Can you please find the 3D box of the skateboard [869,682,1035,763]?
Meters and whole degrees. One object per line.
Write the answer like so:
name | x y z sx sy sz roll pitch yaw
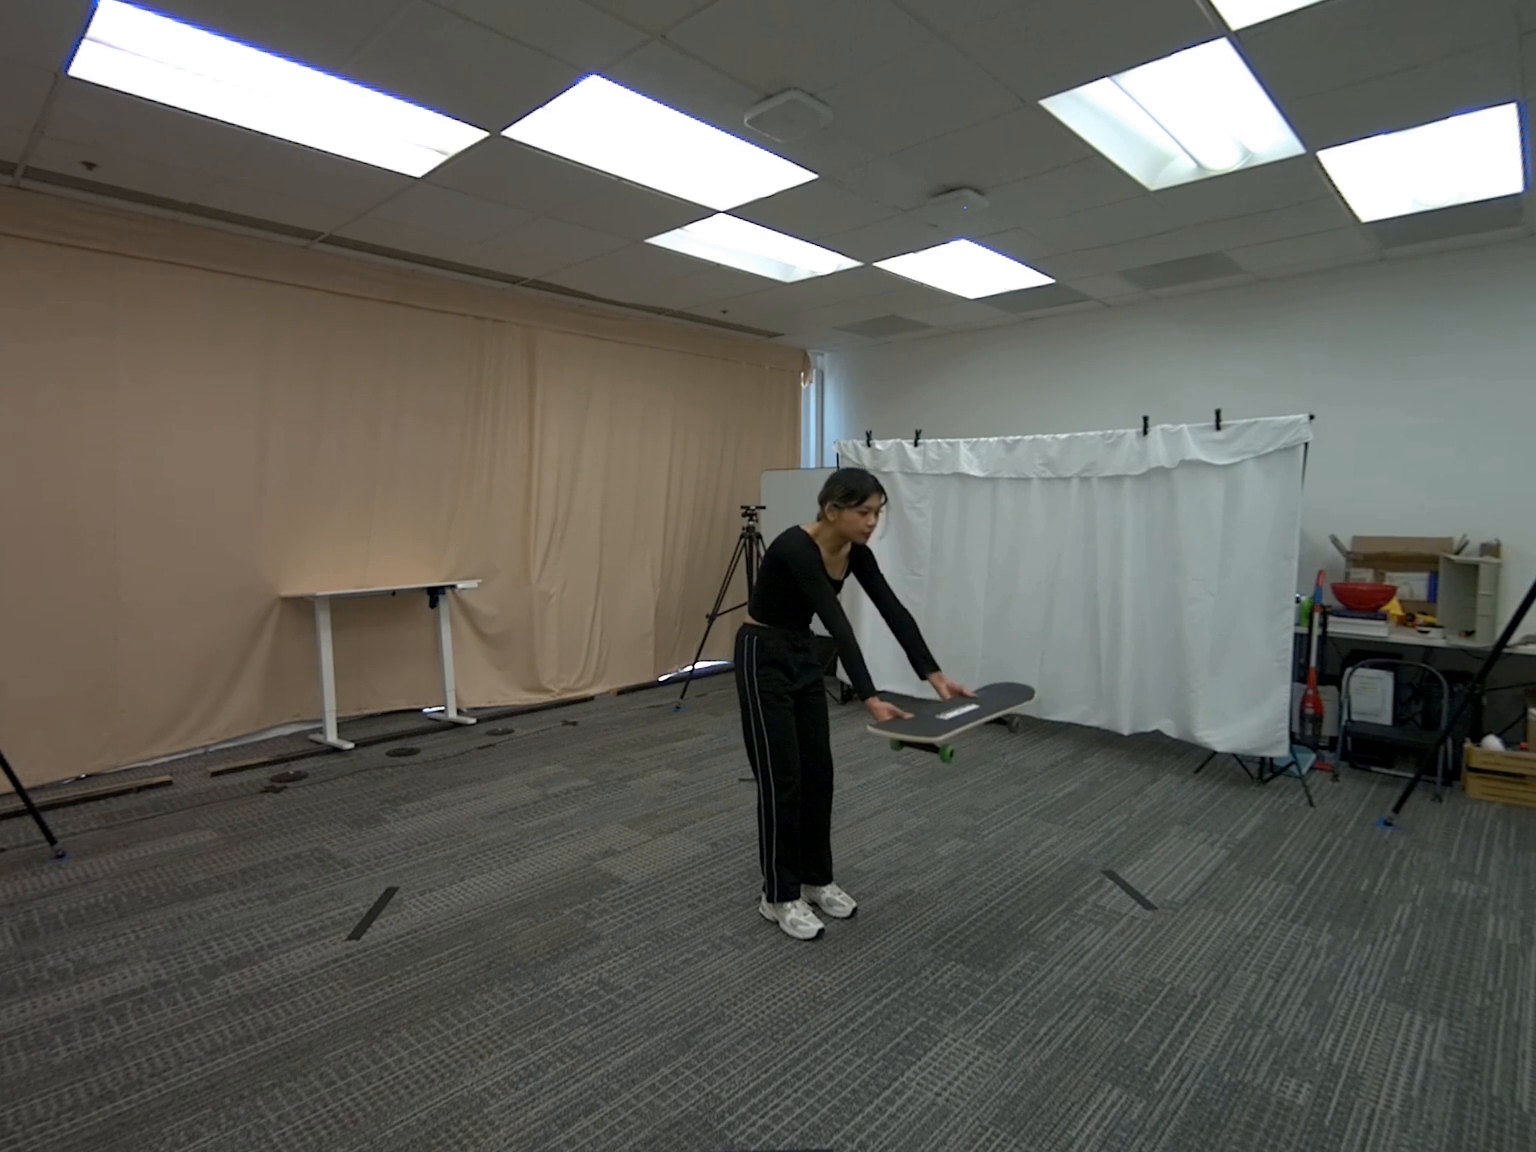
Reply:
skateboard | 0.558 0.437 2.450 0.200 0.110 0.762 5 8 43
